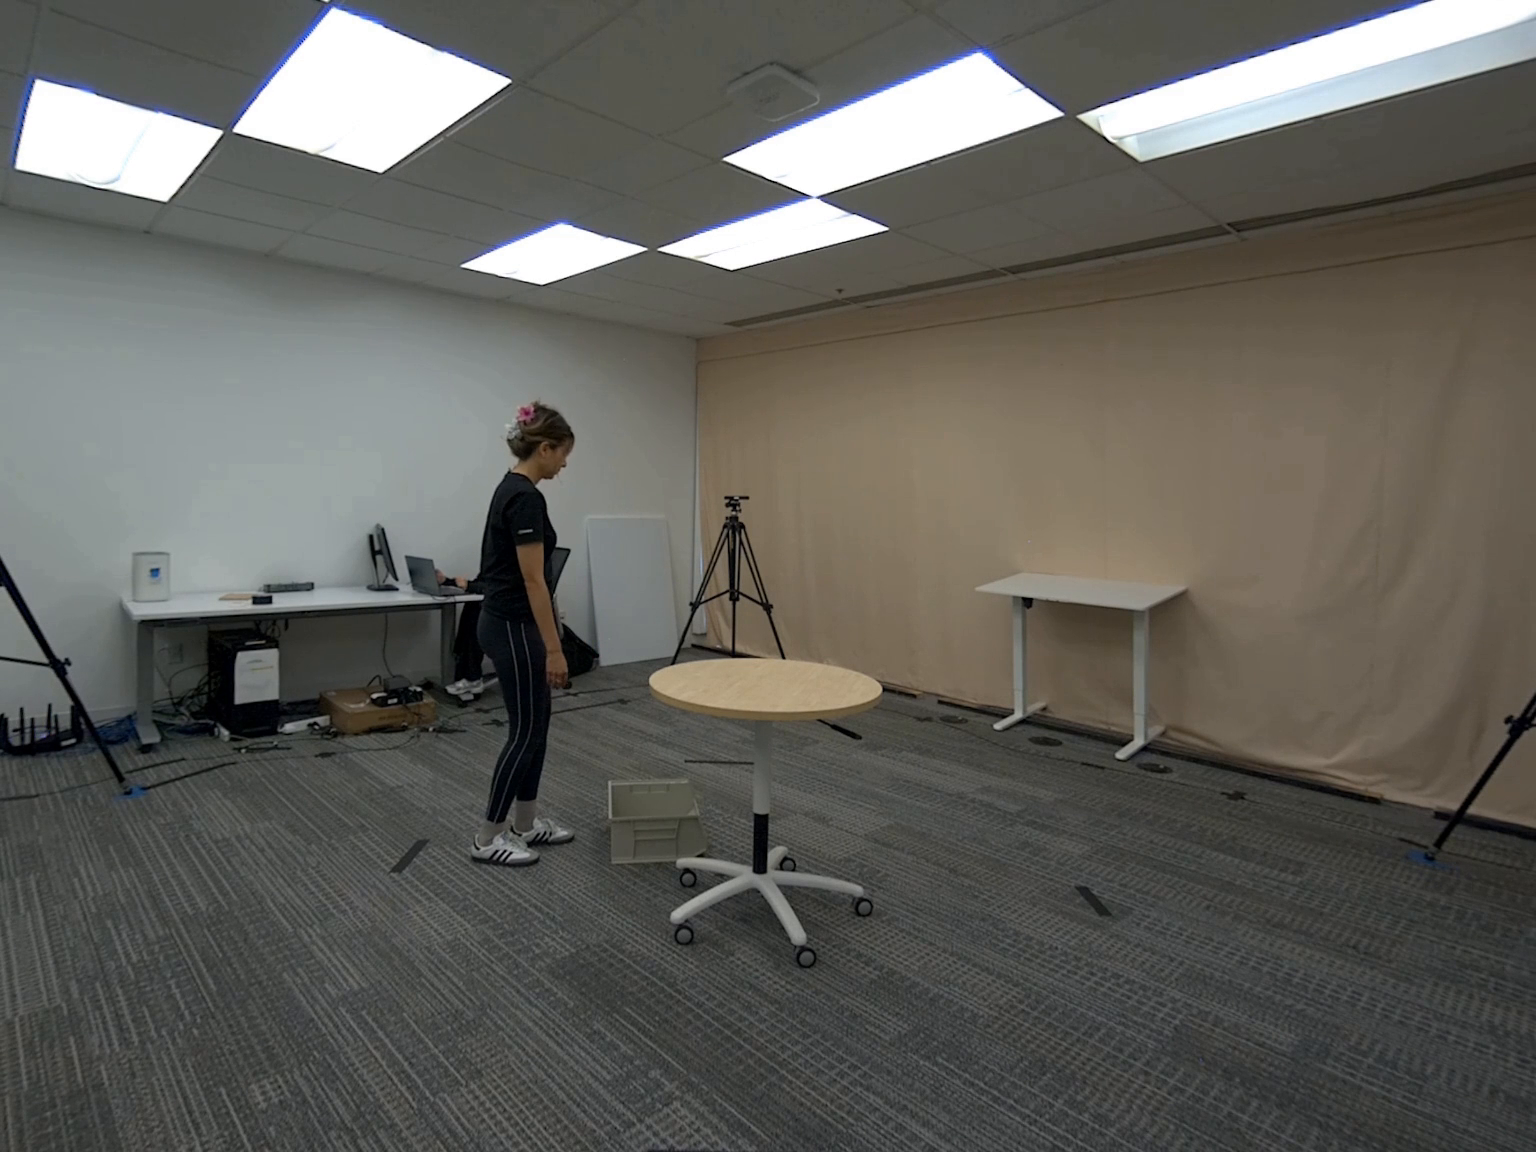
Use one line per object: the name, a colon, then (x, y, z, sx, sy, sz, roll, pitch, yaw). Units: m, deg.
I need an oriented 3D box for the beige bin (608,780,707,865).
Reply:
beige bin: (-0.456, 0.990, 3.402, 0.374, 0.188, 0.427, 0, 5, -10)
